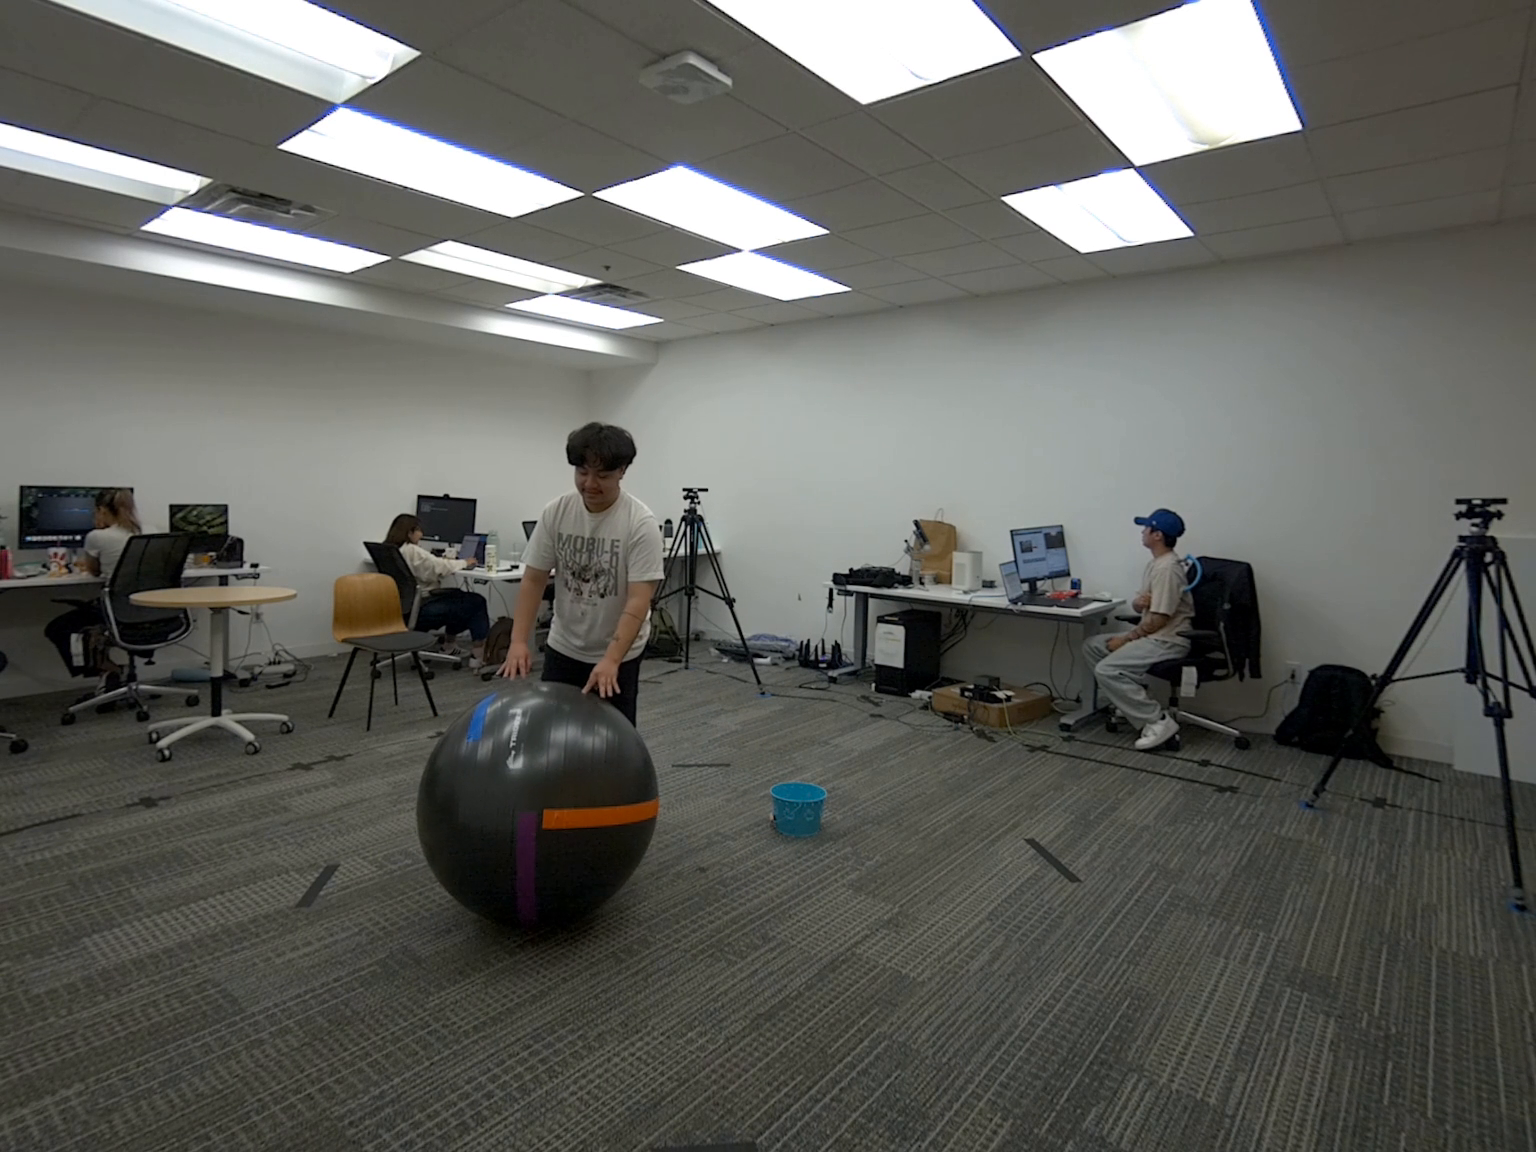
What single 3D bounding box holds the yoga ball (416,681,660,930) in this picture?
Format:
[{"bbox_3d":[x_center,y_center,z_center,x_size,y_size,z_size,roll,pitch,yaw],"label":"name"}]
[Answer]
[{"bbox_3d":[-0.752,0.729,2.757,0.757,0.755,0.762,1,4,-2],"label":"yoga ball"}]
